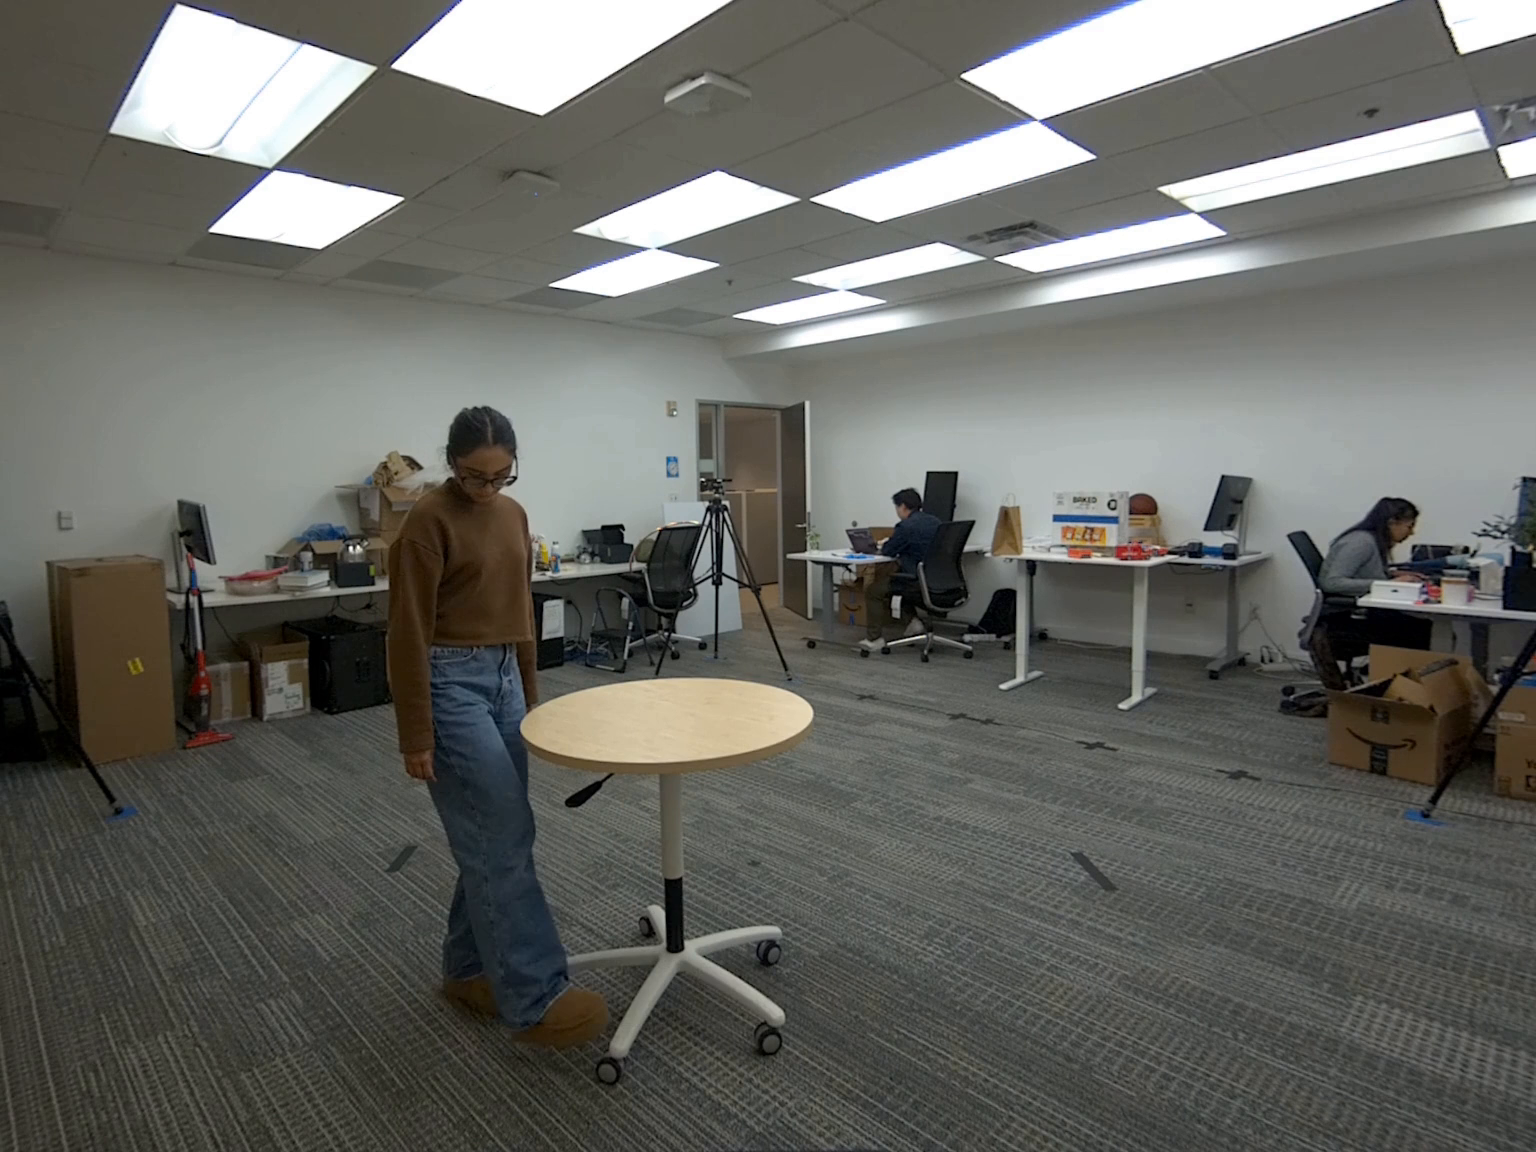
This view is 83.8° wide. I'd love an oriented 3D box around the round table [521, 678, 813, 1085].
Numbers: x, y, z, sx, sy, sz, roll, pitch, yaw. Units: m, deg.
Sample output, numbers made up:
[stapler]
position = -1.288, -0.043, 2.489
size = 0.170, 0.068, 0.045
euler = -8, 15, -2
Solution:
[round table]
position = -0.246, 0.753, 2.289
size = 0.763, 0.790, 0.768
euler = -2, 5, -2
